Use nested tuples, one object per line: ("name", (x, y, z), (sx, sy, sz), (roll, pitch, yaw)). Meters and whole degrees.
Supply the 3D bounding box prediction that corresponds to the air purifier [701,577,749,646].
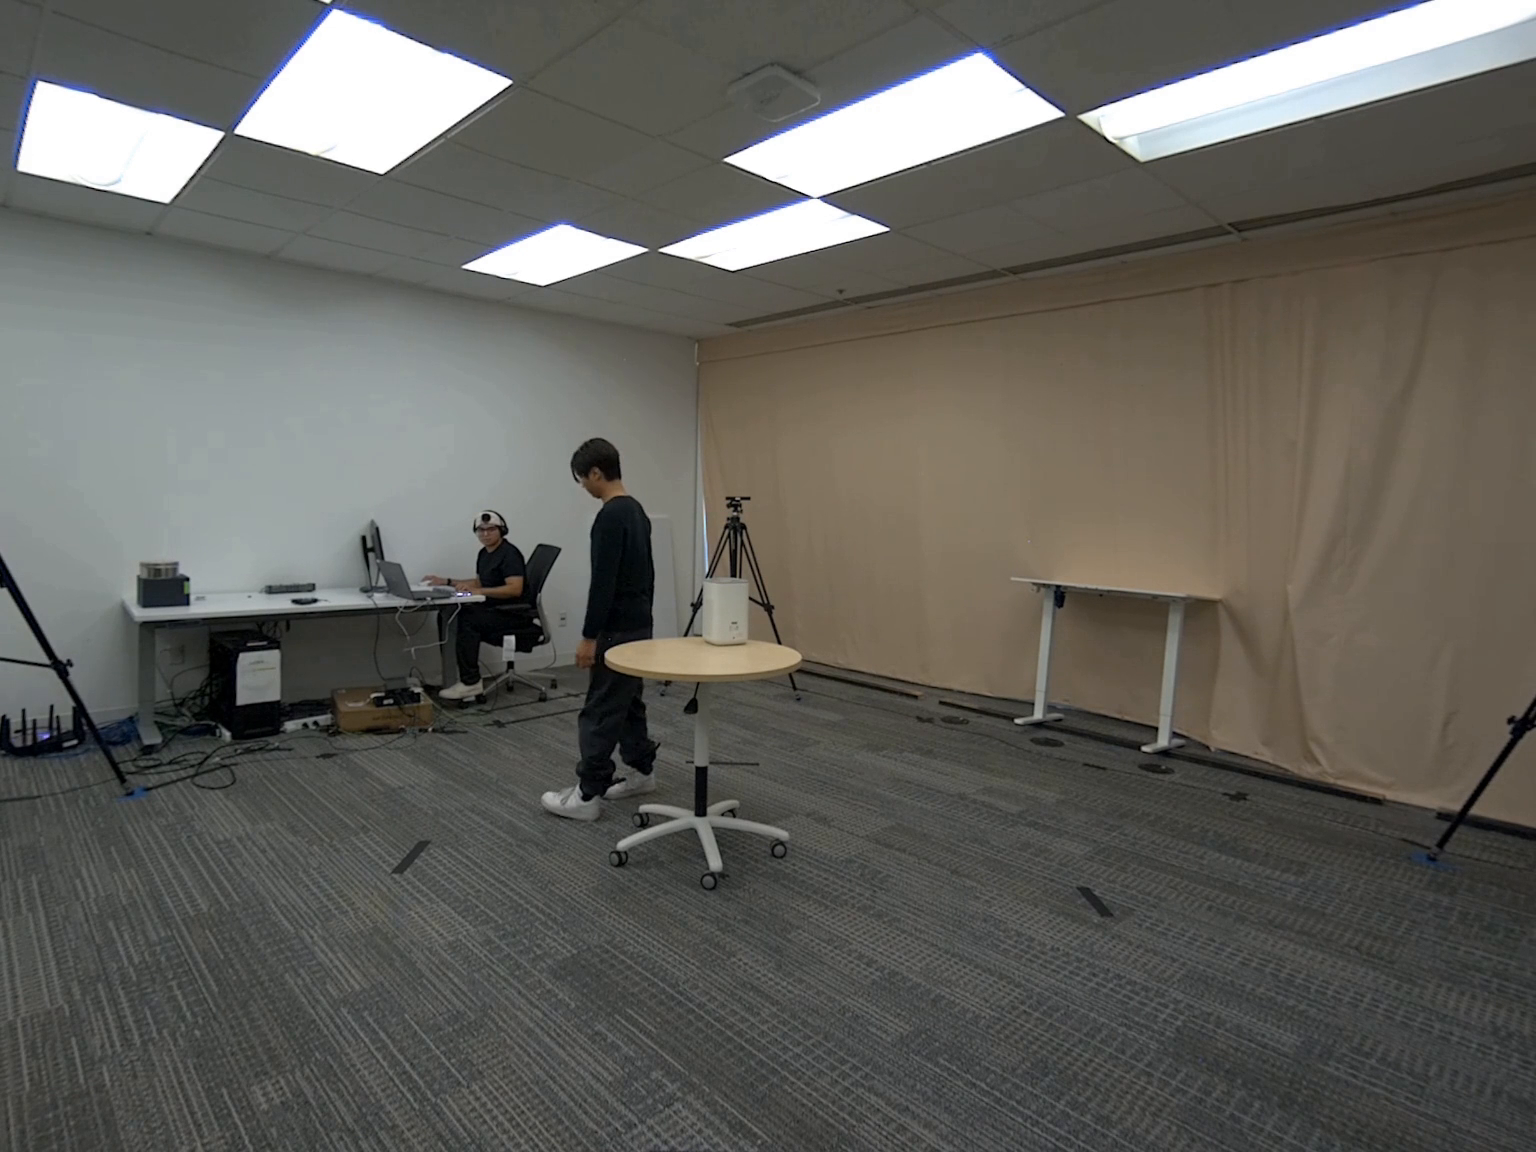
("air purifier", (-0.187, 0.149, 3.533), (0.168, 0.265, 0.175), (-1, 3, -24))
